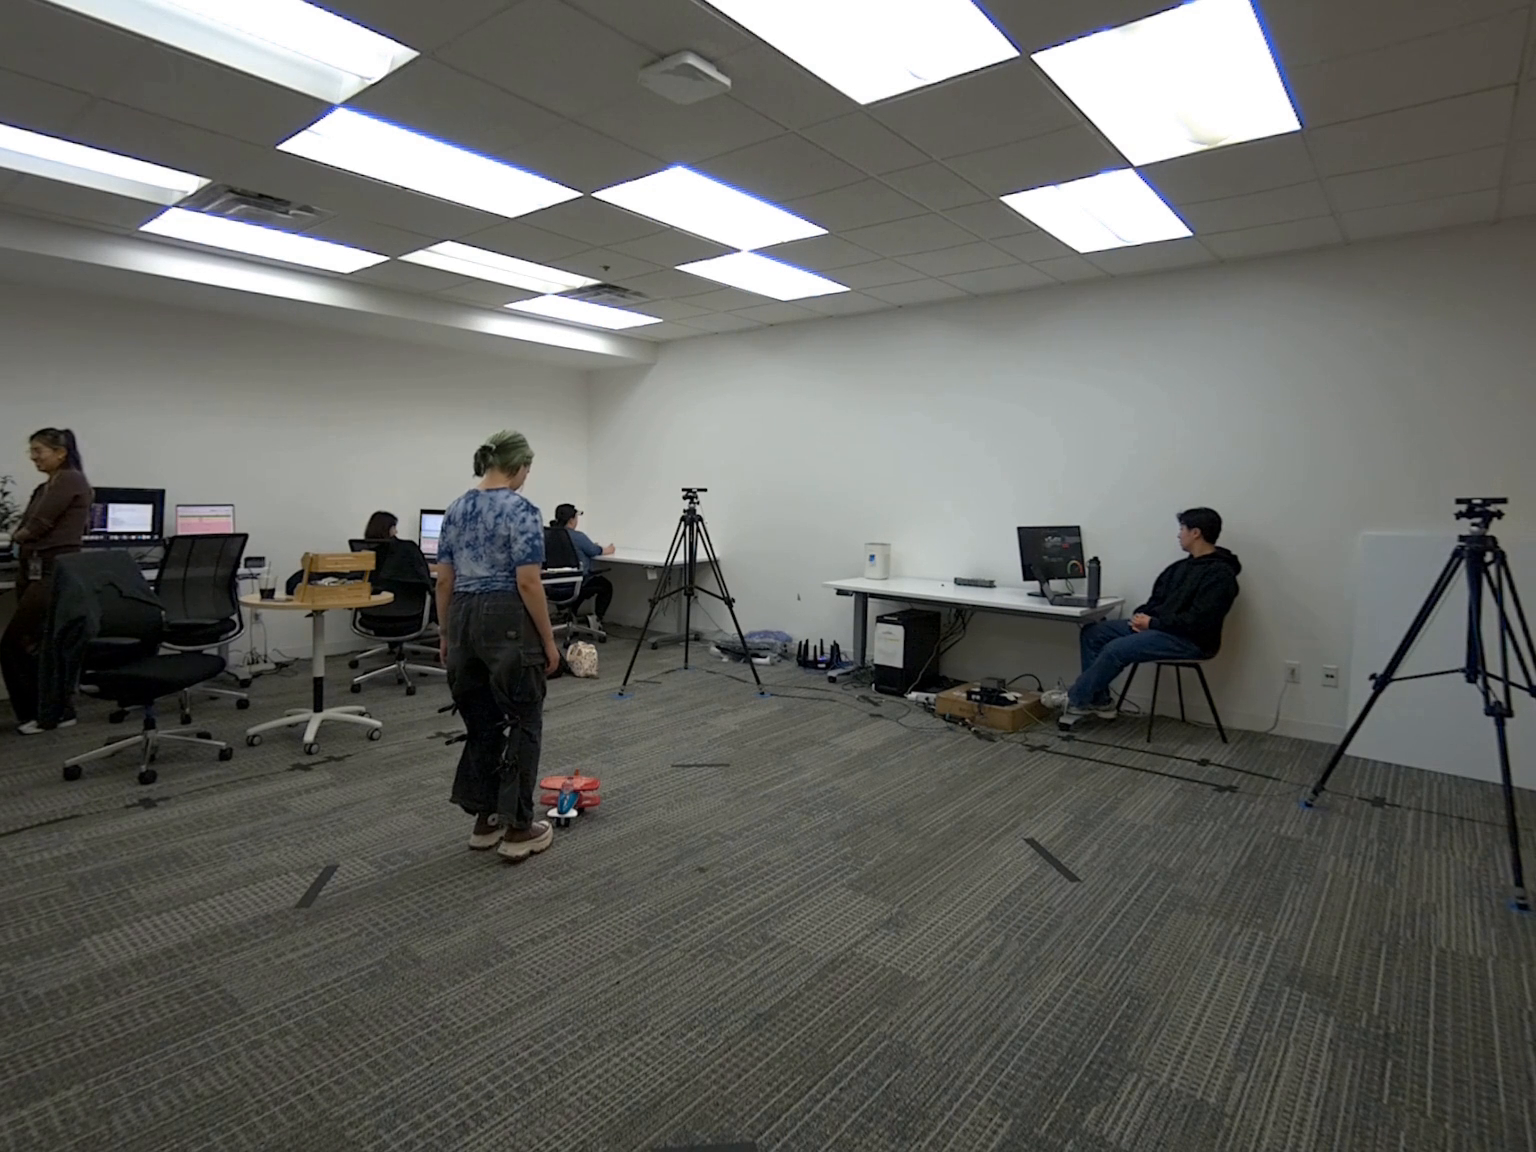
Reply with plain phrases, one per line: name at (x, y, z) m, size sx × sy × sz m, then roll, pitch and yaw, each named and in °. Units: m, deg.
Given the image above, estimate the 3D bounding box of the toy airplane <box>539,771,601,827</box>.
toy airplane at (-0.840, 0.943, 3.579) m, size 0.244 × 0.156 × 0.267 m, roll -2°, pitch 5°, yaw -30°
